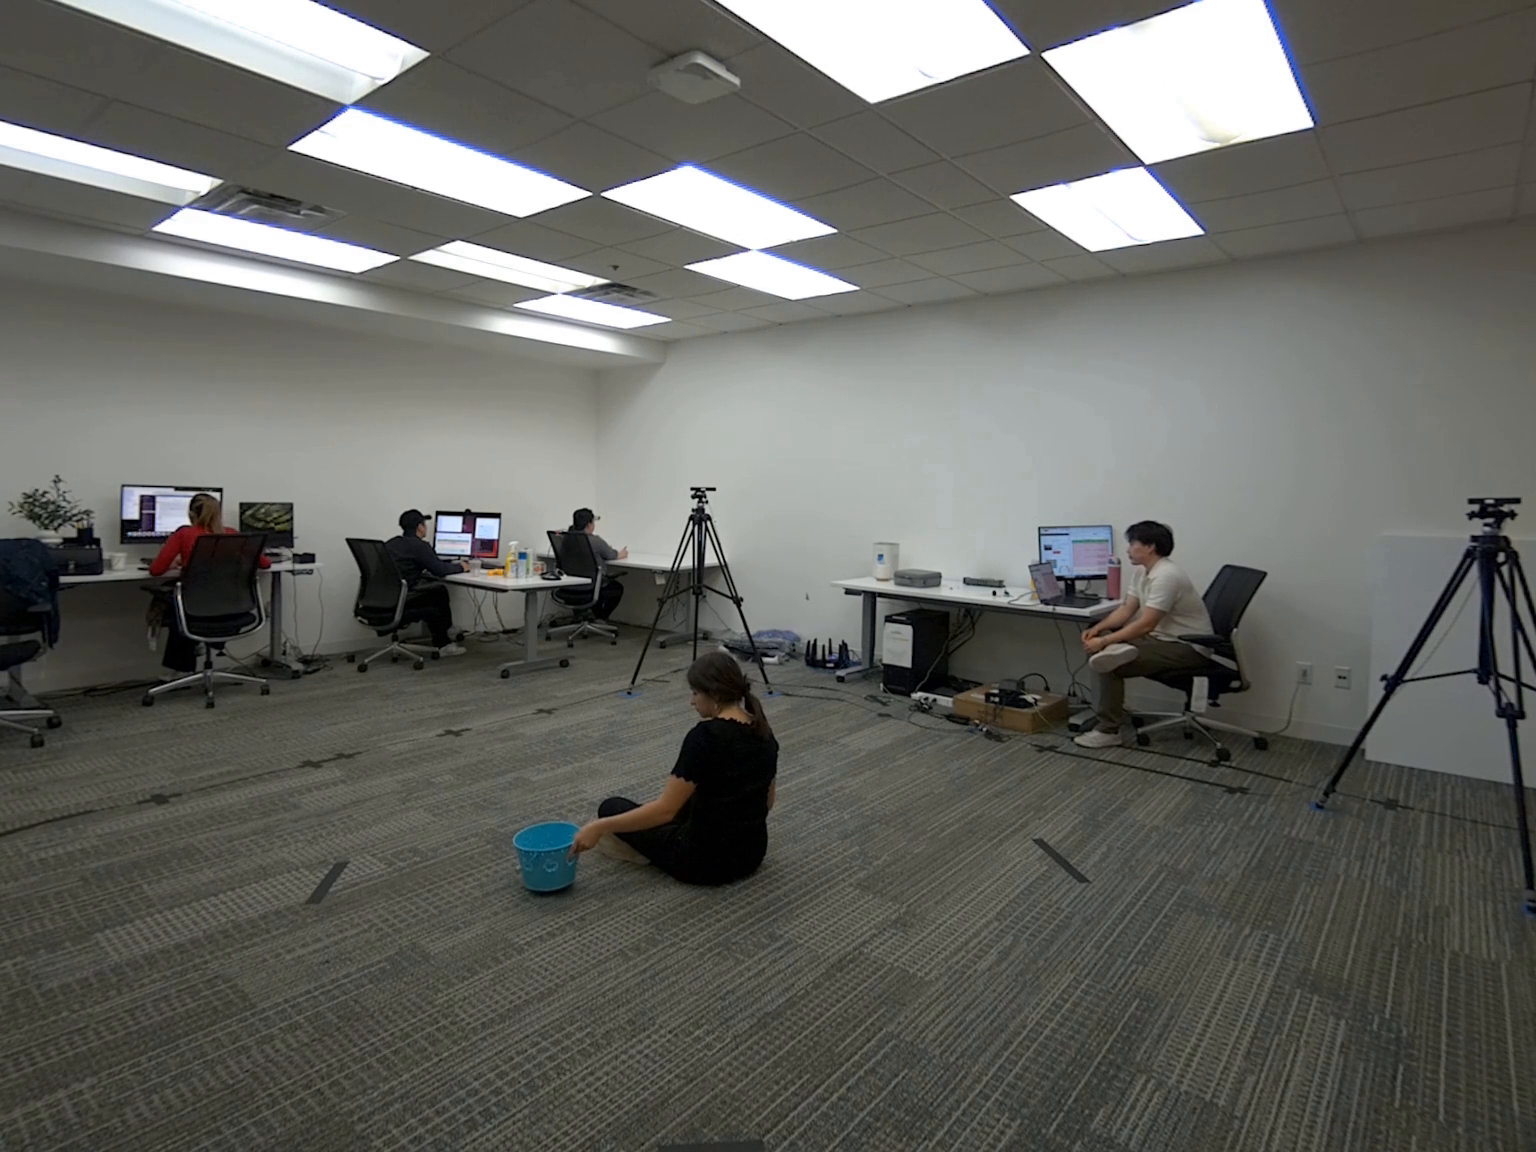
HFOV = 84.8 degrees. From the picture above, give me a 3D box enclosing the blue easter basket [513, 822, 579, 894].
[{"bbox_3d":[-0.773,0.970,2.951,0.243,0.155,0.245,-3,8,-2],"label":"blue easter basket"}]
